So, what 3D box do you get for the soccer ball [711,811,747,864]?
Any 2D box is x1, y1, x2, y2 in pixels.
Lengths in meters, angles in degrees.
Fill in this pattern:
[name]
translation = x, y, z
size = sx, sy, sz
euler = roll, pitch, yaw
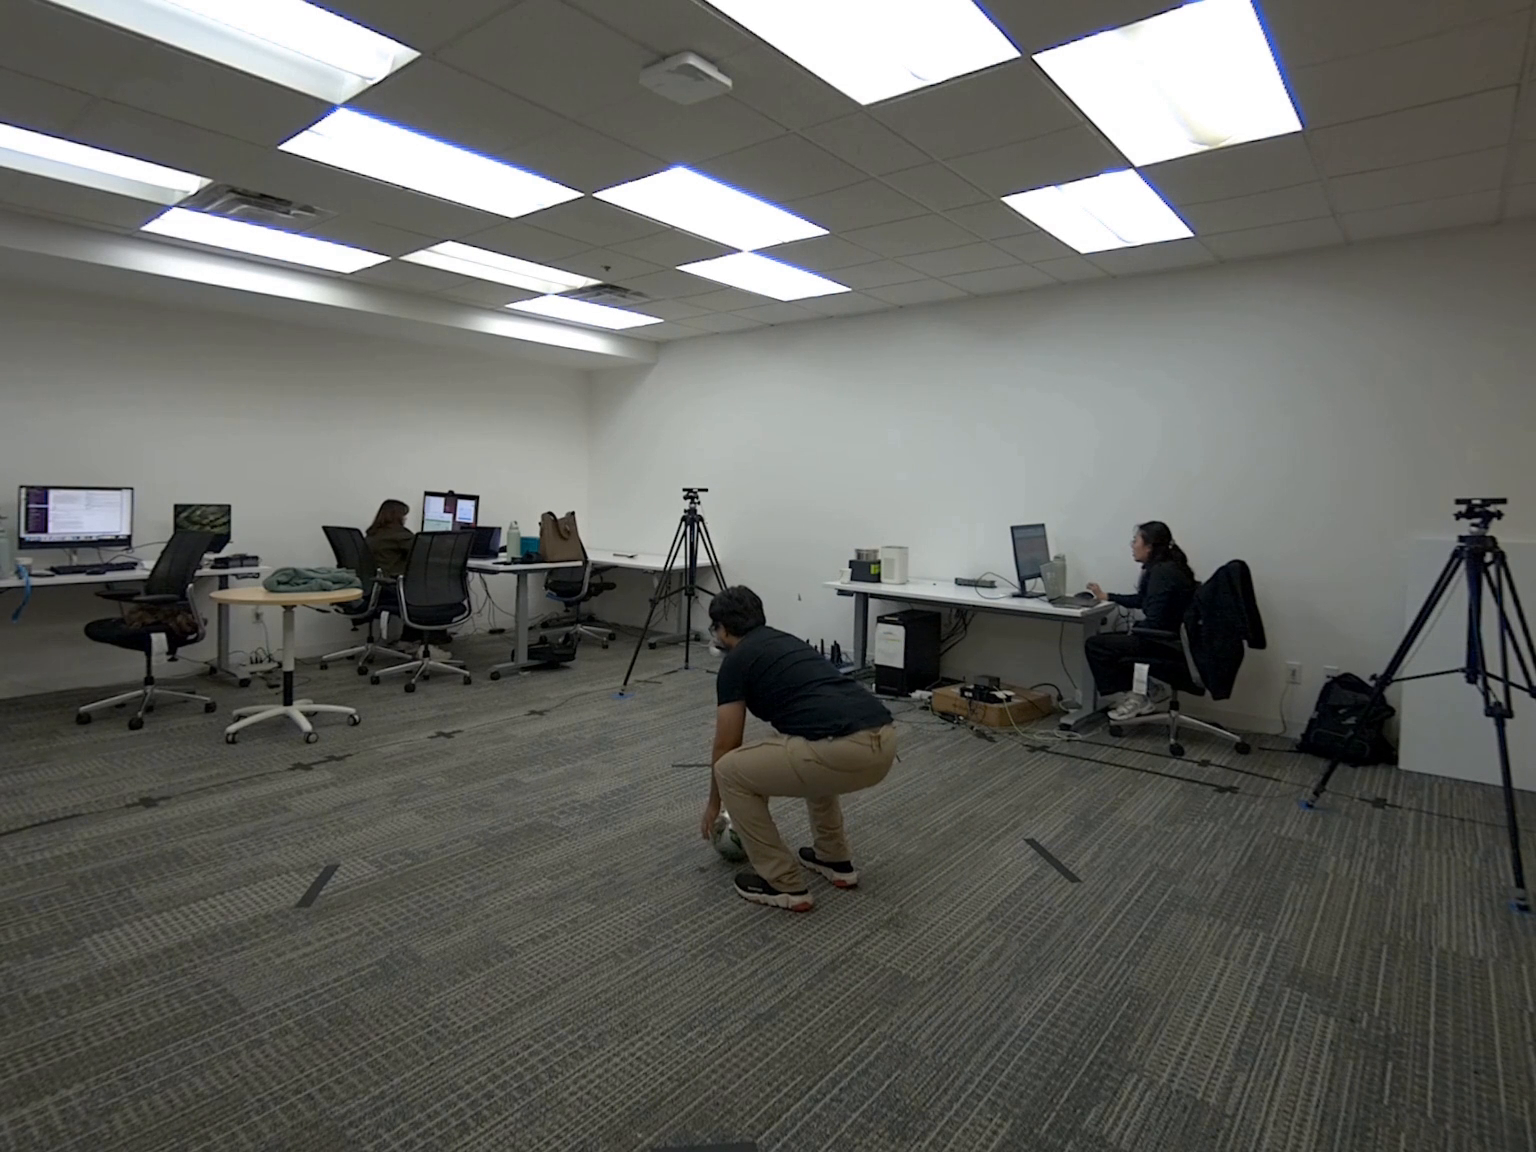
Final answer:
[soccer ball]
translation = -0.134, 0.971, 3.216
size = 0.187, 0.187, 0.188
euler = 1, 4, -2
